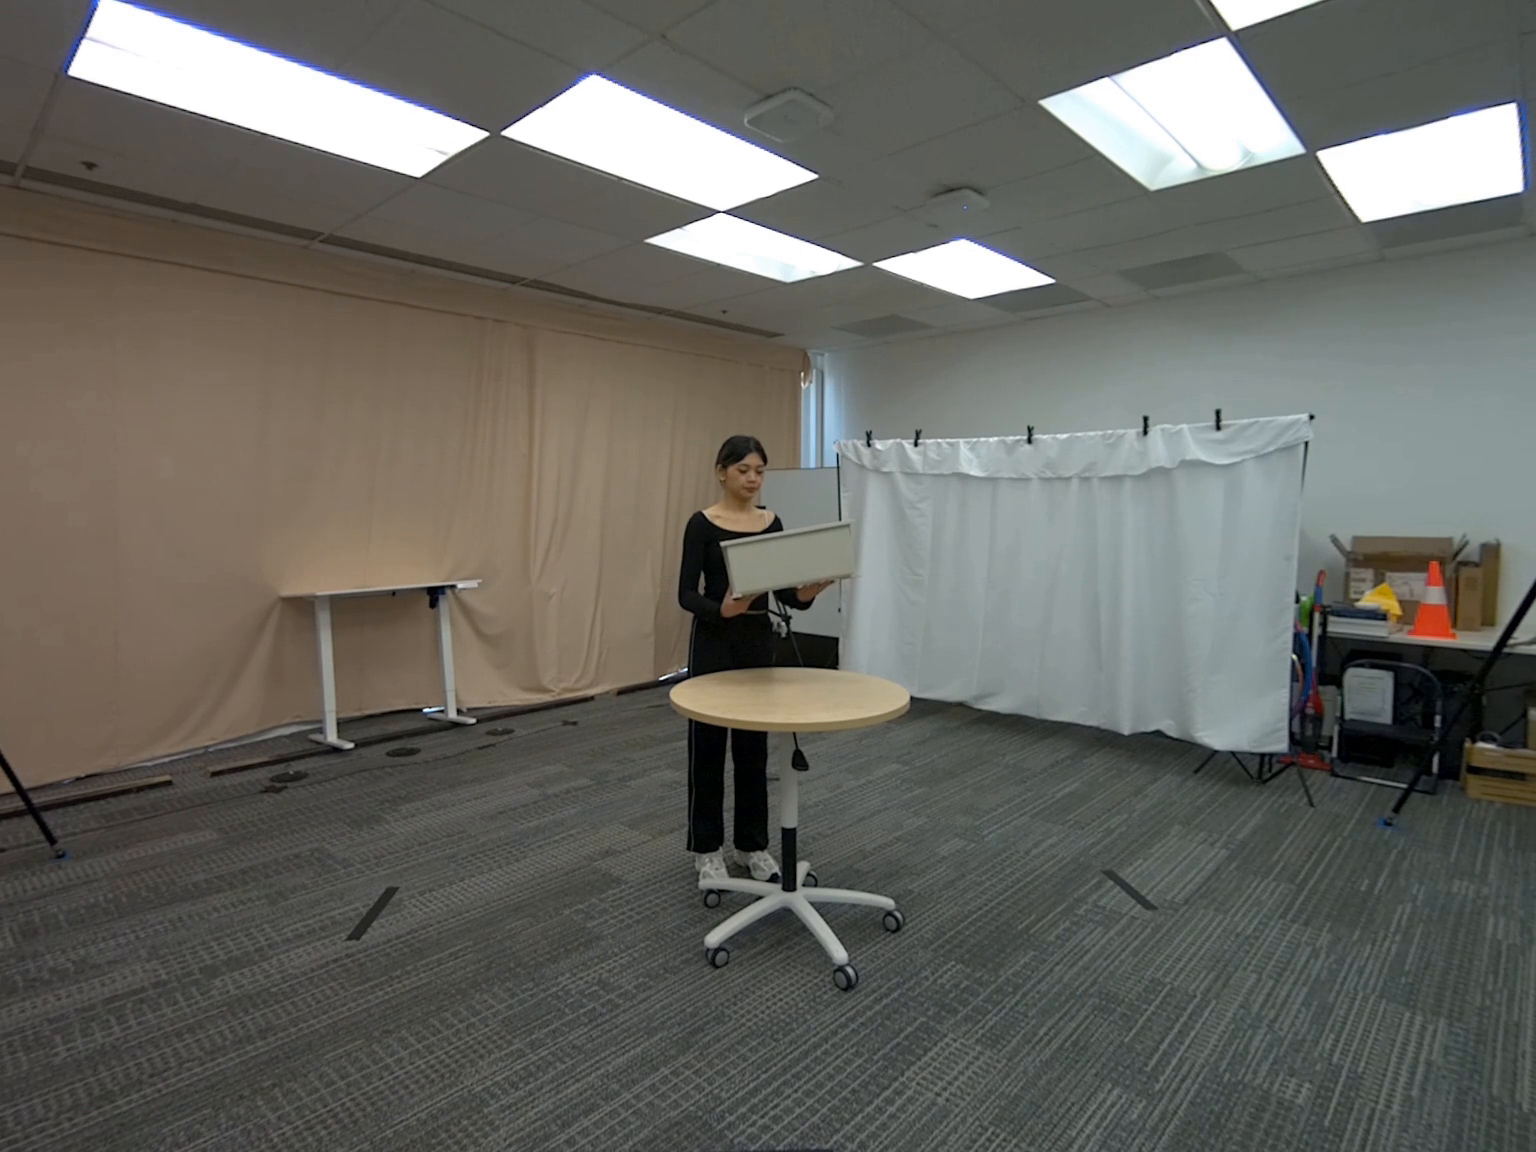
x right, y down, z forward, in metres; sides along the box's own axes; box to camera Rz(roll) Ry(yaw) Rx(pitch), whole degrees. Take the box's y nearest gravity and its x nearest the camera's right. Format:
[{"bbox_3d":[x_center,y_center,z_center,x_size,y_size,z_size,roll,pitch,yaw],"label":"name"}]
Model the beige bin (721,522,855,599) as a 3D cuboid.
[{"bbox_3d":[0.075,-0.044,2.806,0.423,0.189,0.376,-10,-1,0],"label":"beige bin"}]
